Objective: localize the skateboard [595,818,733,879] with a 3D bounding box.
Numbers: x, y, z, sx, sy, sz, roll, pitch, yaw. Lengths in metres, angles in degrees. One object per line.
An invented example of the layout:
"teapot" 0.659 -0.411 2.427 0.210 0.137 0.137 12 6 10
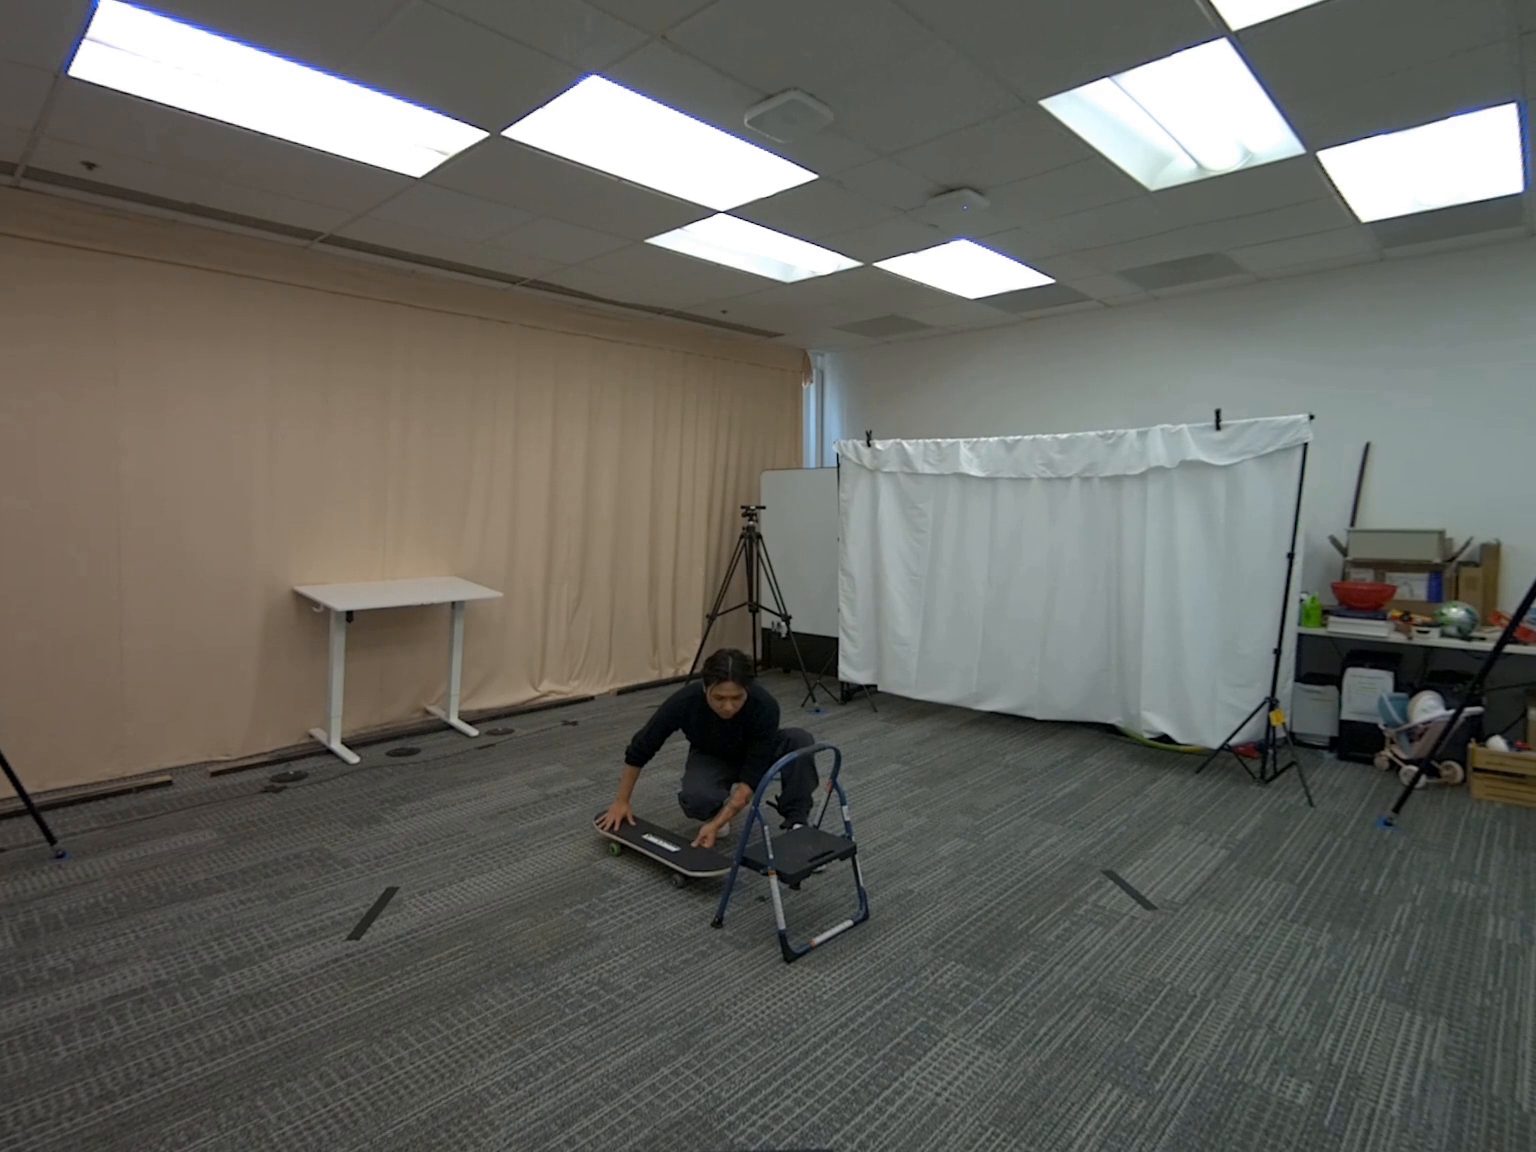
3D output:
"skateboard" -0.417 1.071 3.277 0.187 0.110 0.811 -5 6 -44
